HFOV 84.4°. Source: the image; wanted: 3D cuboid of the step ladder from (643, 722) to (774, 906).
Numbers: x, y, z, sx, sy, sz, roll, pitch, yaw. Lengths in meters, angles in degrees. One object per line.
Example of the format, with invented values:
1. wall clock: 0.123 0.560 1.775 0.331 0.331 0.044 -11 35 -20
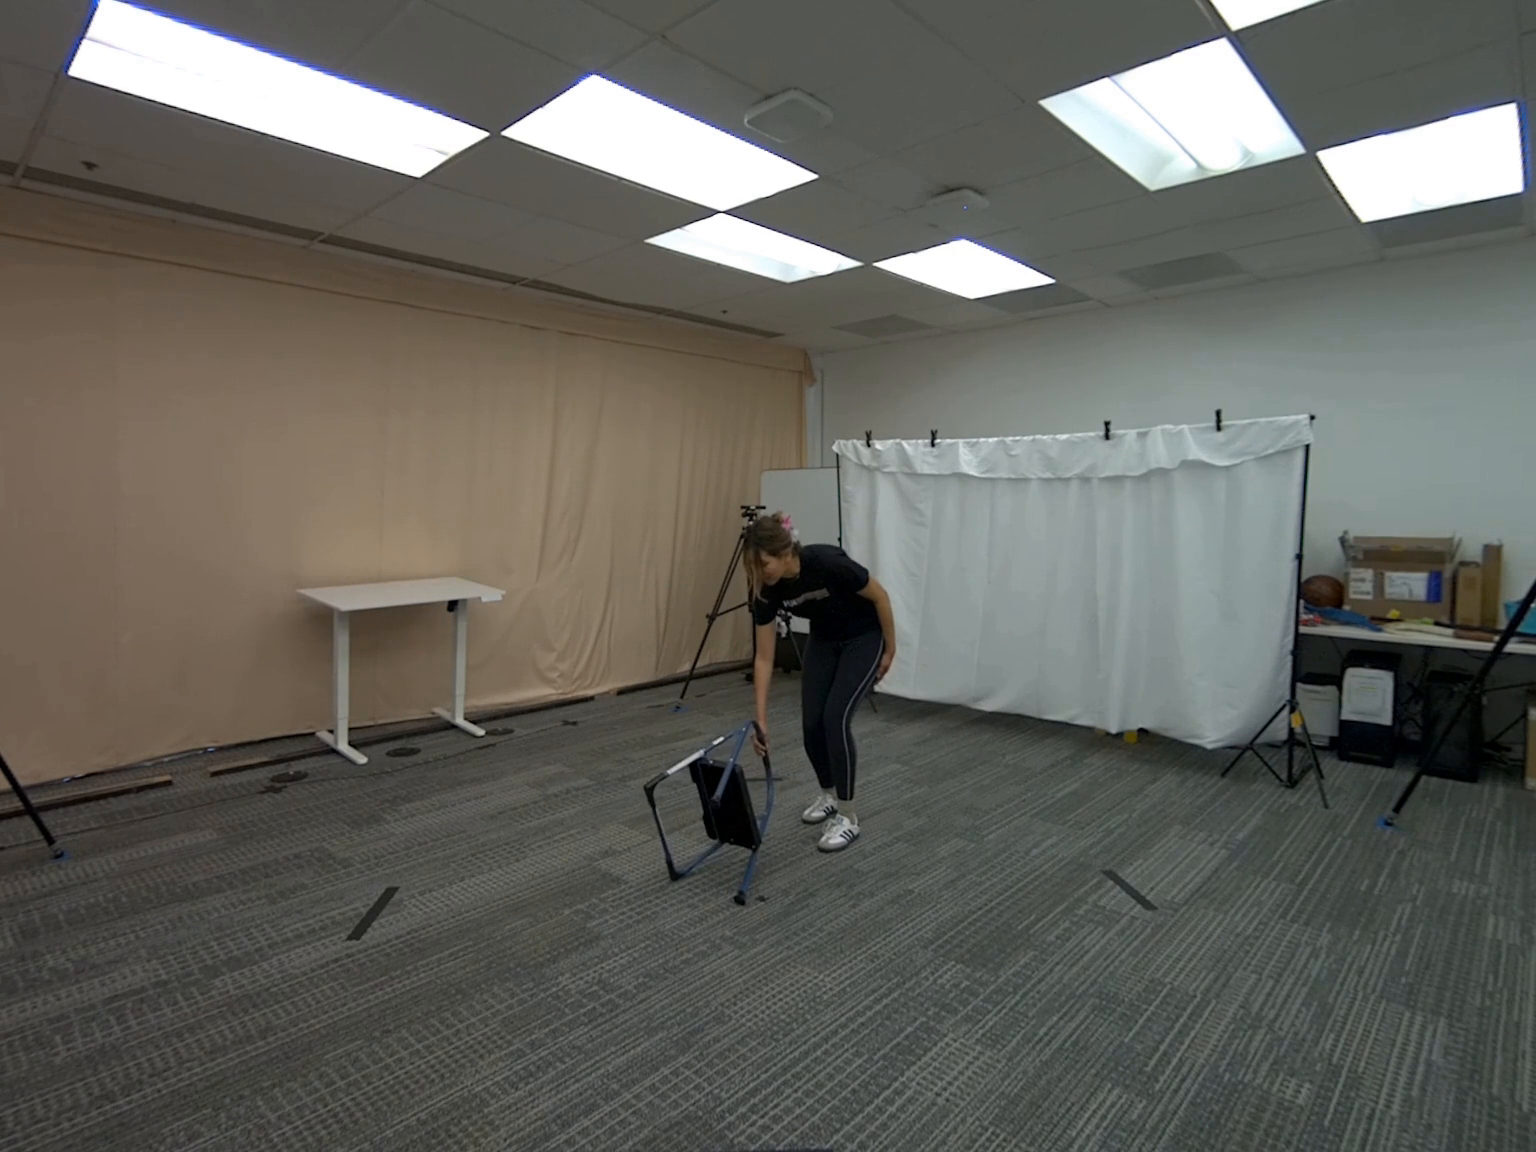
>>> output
1. step ladder: -0.116 0.833 3.194 0.360 0.424 0.596 0 22 36
